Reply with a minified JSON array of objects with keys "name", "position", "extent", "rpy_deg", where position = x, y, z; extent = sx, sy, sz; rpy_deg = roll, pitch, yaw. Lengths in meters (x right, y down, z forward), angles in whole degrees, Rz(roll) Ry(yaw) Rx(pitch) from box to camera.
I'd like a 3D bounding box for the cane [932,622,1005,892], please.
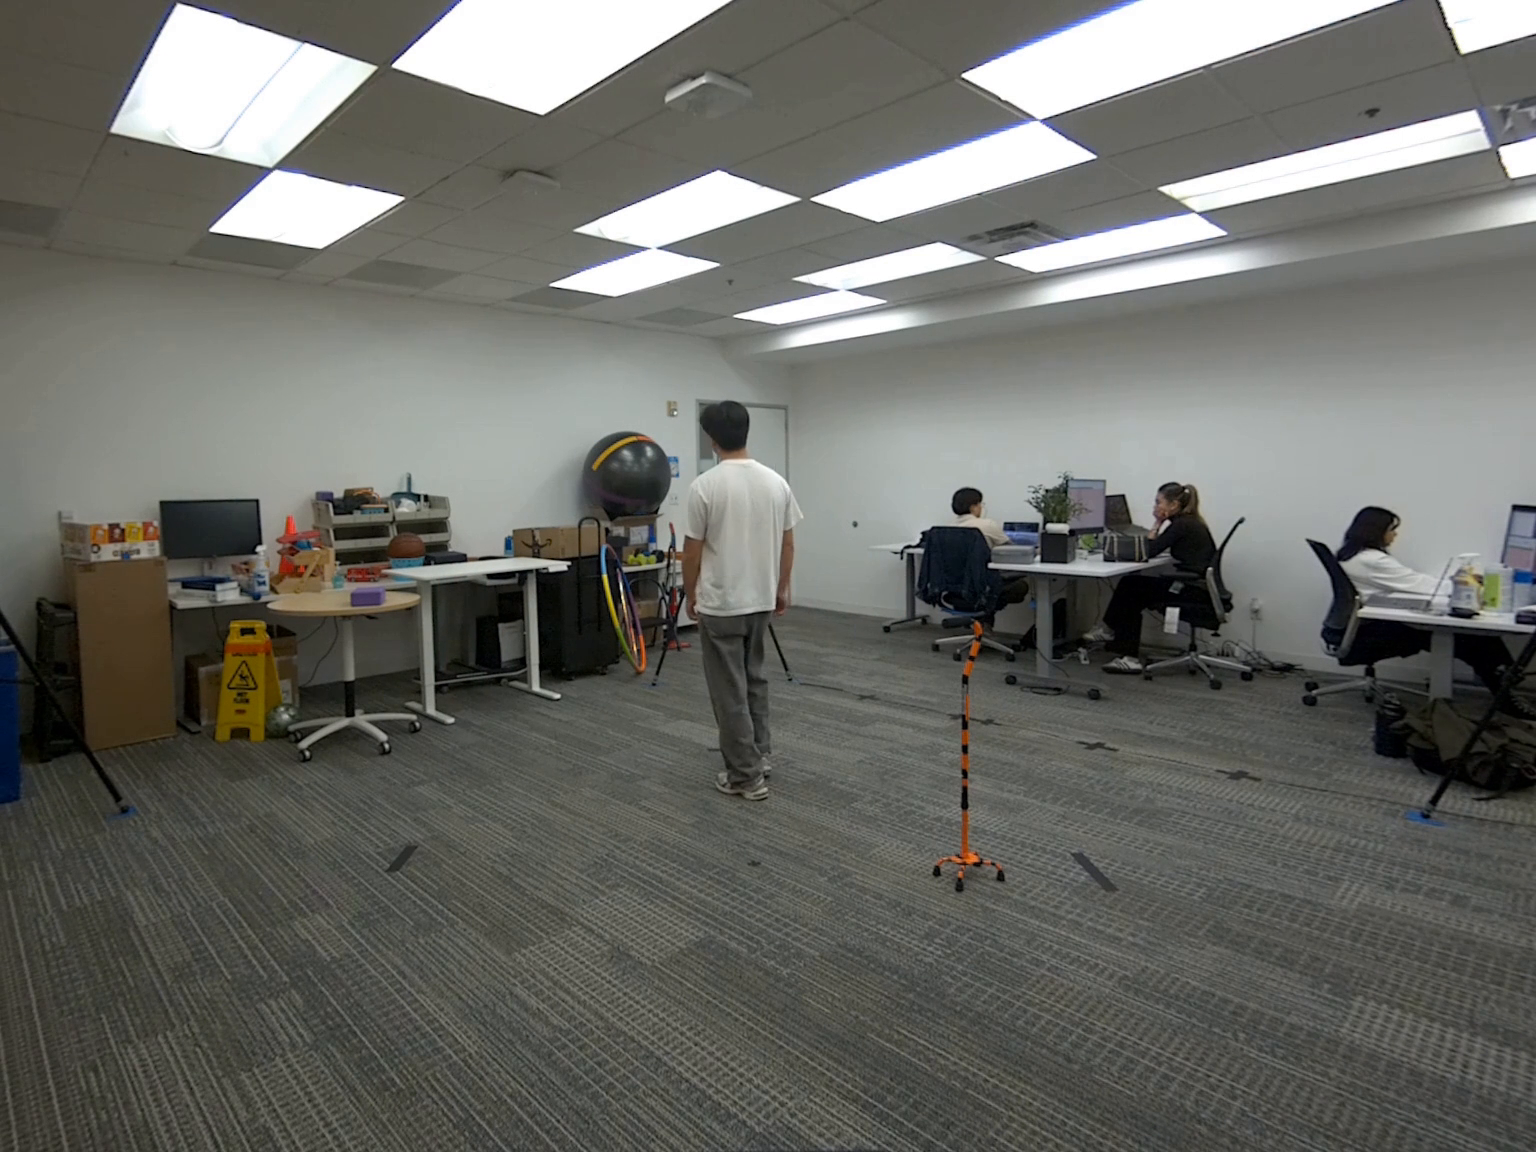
[{"name":"cane","position":[0.694,0.599,2.945],"extent":[0.202,0.905,0.155],"rpy_deg":[-2,4,-26]}]
